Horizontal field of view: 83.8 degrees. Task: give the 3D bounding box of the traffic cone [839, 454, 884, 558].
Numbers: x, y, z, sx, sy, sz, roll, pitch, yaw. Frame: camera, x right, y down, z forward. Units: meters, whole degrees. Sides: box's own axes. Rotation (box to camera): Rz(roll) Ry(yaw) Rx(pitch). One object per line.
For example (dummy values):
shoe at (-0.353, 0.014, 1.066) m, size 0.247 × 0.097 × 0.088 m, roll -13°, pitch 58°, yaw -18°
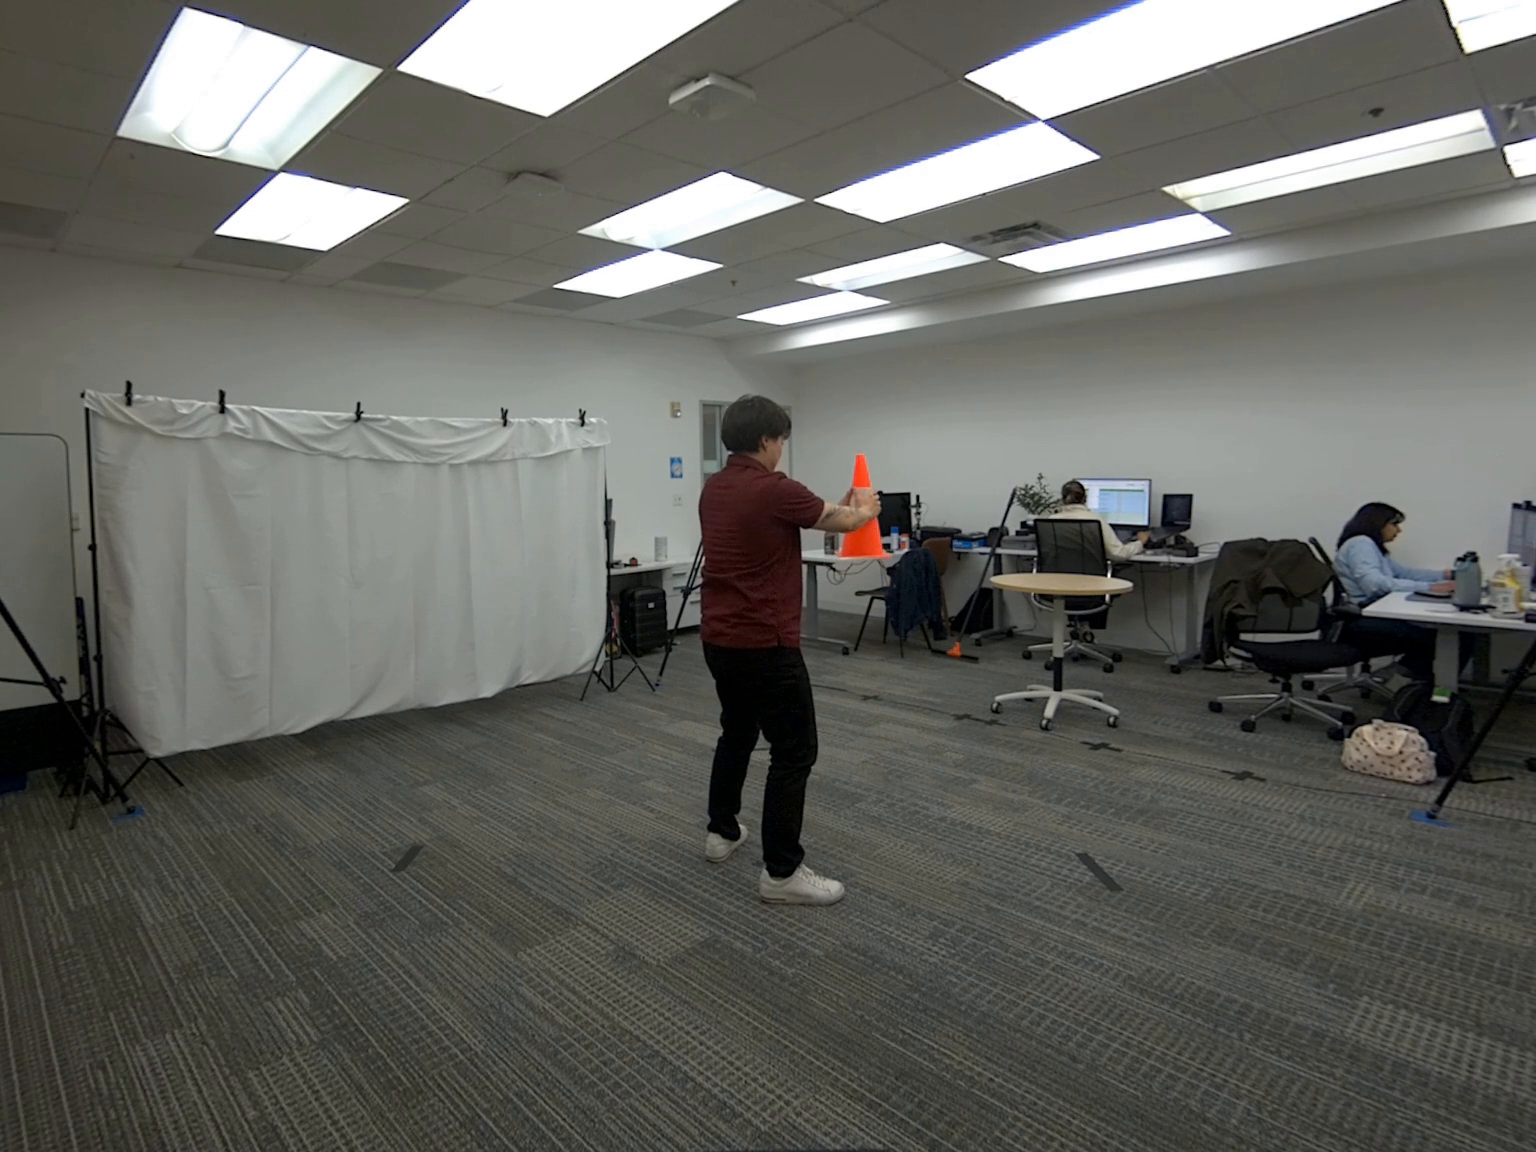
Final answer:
traffic cone at (0.357, -0.267, 3.244) m, size 0.202 × 0.383 × 0.207 m, roll -3°, pitch 3°, yaw -17°
